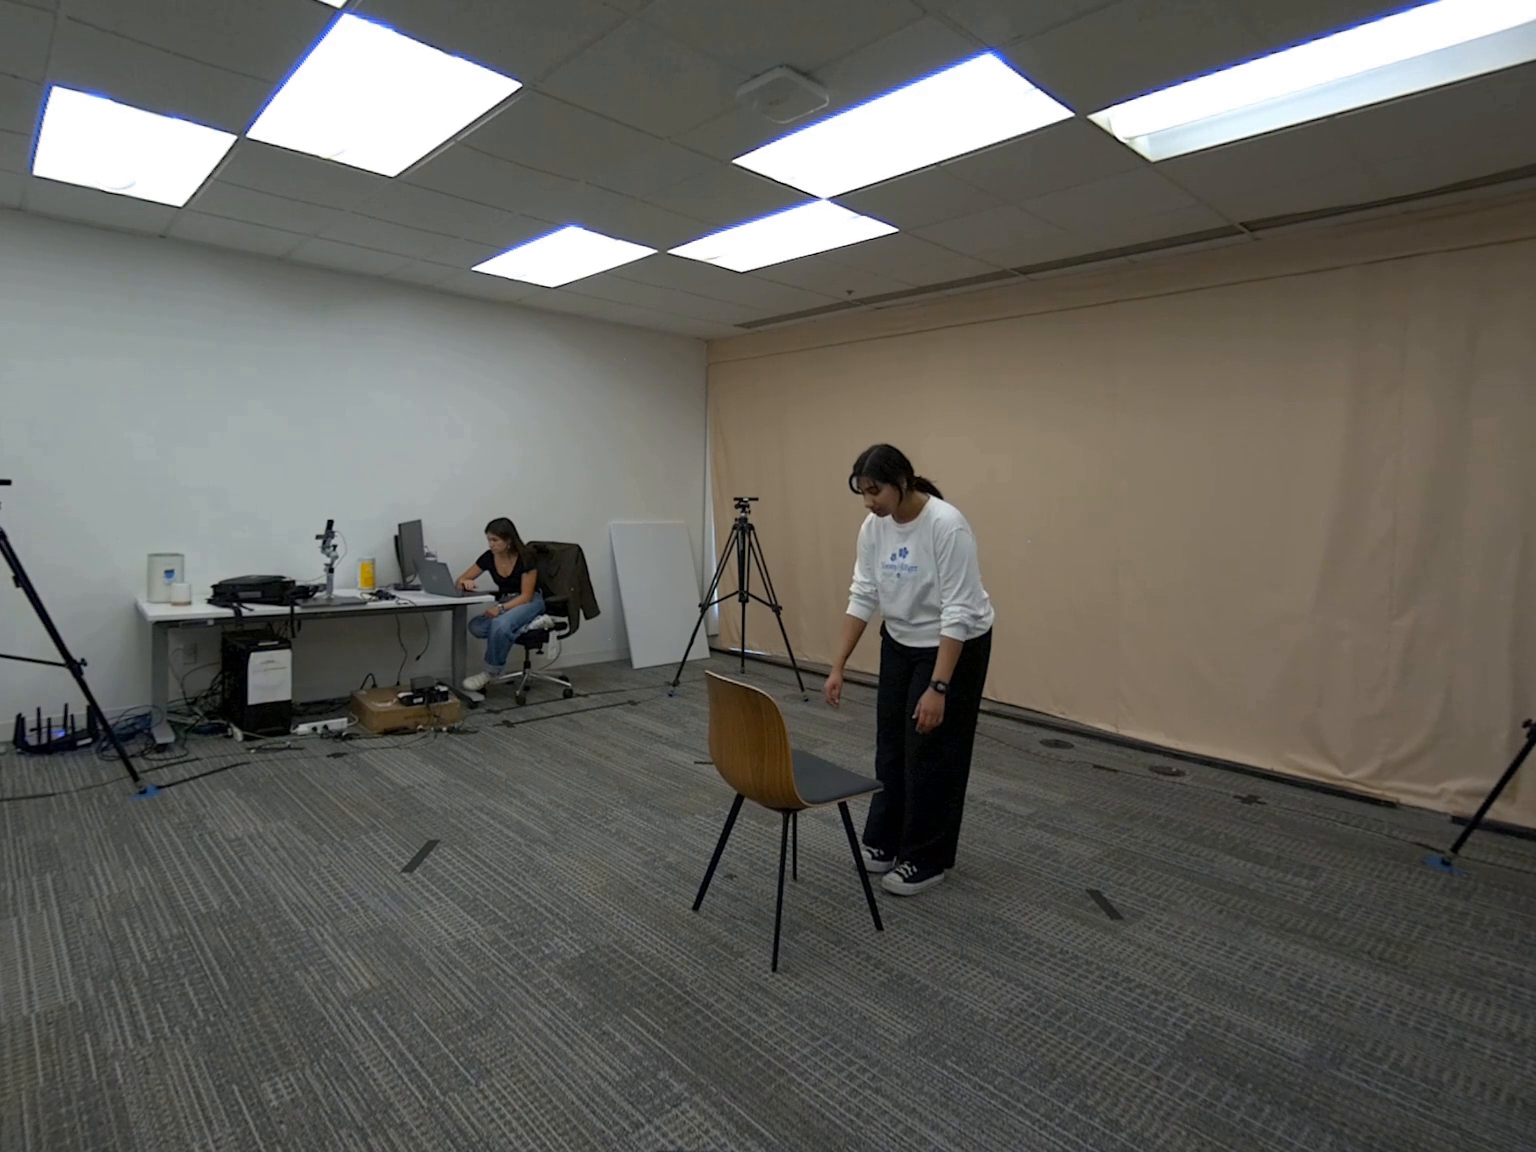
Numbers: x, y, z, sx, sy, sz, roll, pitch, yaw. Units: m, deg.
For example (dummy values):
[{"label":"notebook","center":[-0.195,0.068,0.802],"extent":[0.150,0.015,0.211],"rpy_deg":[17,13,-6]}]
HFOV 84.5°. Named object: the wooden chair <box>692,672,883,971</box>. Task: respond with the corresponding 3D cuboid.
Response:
[{"label":"wooden chair","center":[0.068,0.716,2.760],"extent":[0.513,0.873,0.490],"rpy_deg":[-7,7,-36]}]
